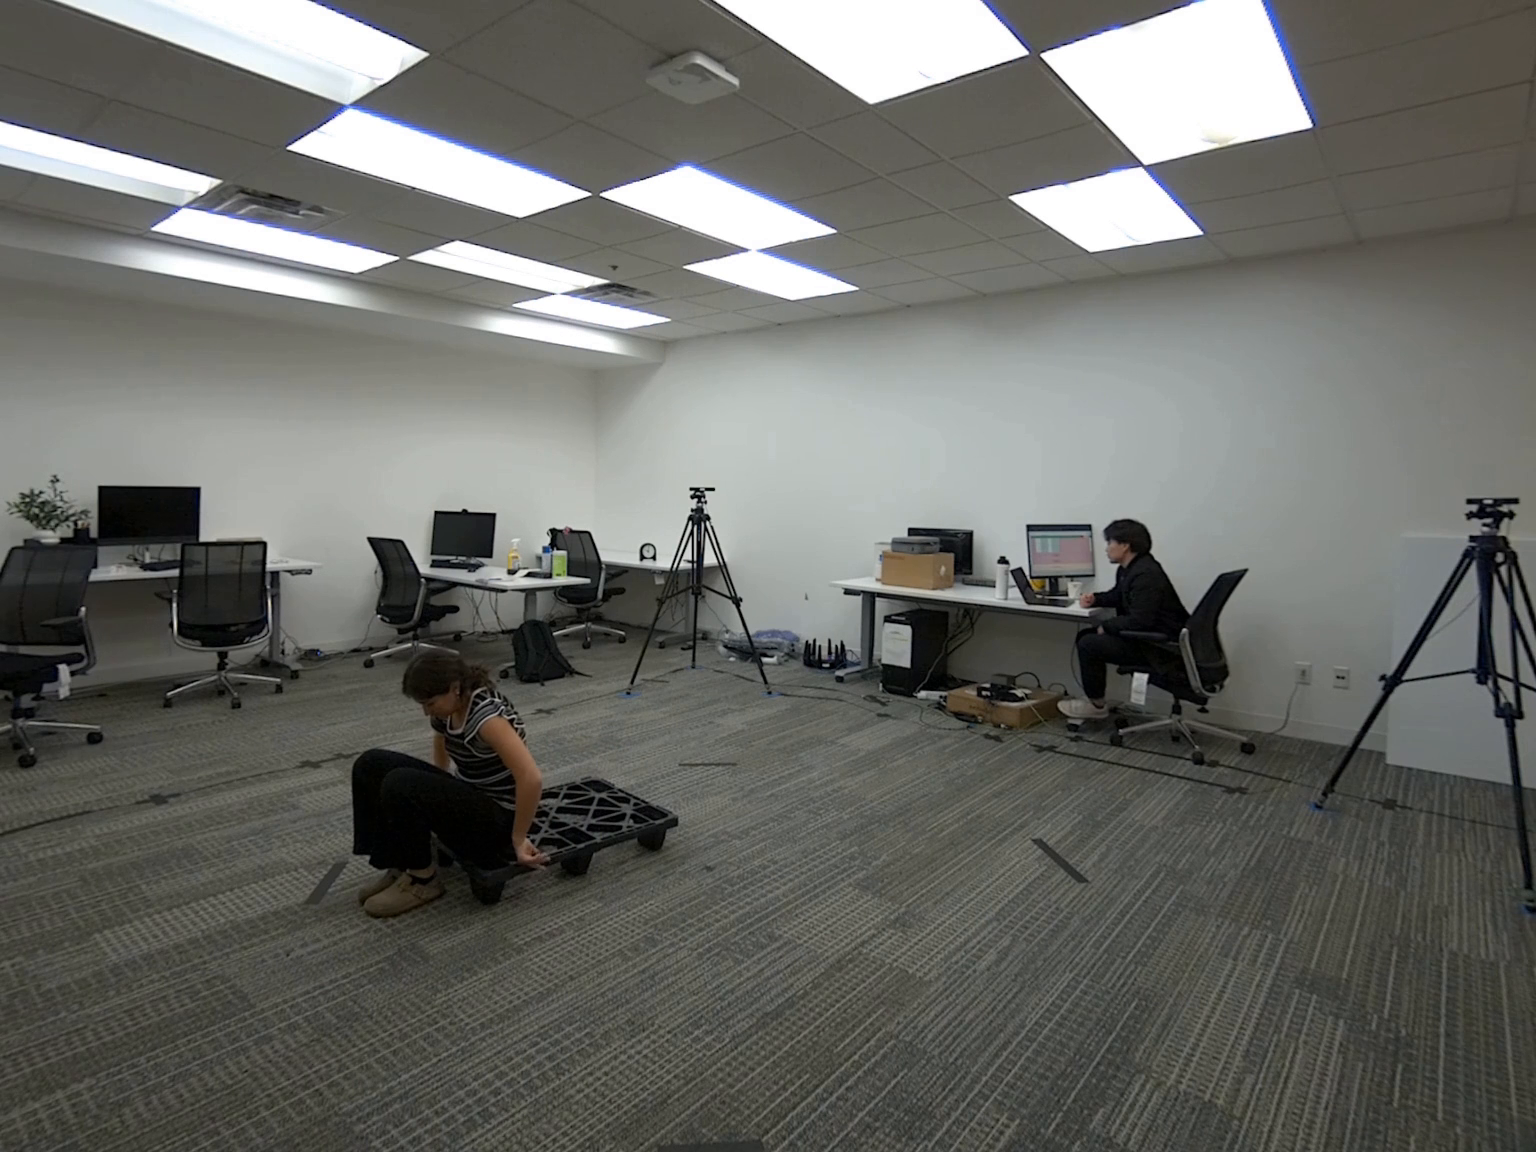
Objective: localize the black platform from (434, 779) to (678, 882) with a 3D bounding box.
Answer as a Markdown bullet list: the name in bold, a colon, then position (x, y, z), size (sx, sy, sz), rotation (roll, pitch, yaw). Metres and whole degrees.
- **black platform**: position (-0.844, 0.977, 3.214), size (0.781, 0.143, 0.625), rotation (-4, 7, -42)
